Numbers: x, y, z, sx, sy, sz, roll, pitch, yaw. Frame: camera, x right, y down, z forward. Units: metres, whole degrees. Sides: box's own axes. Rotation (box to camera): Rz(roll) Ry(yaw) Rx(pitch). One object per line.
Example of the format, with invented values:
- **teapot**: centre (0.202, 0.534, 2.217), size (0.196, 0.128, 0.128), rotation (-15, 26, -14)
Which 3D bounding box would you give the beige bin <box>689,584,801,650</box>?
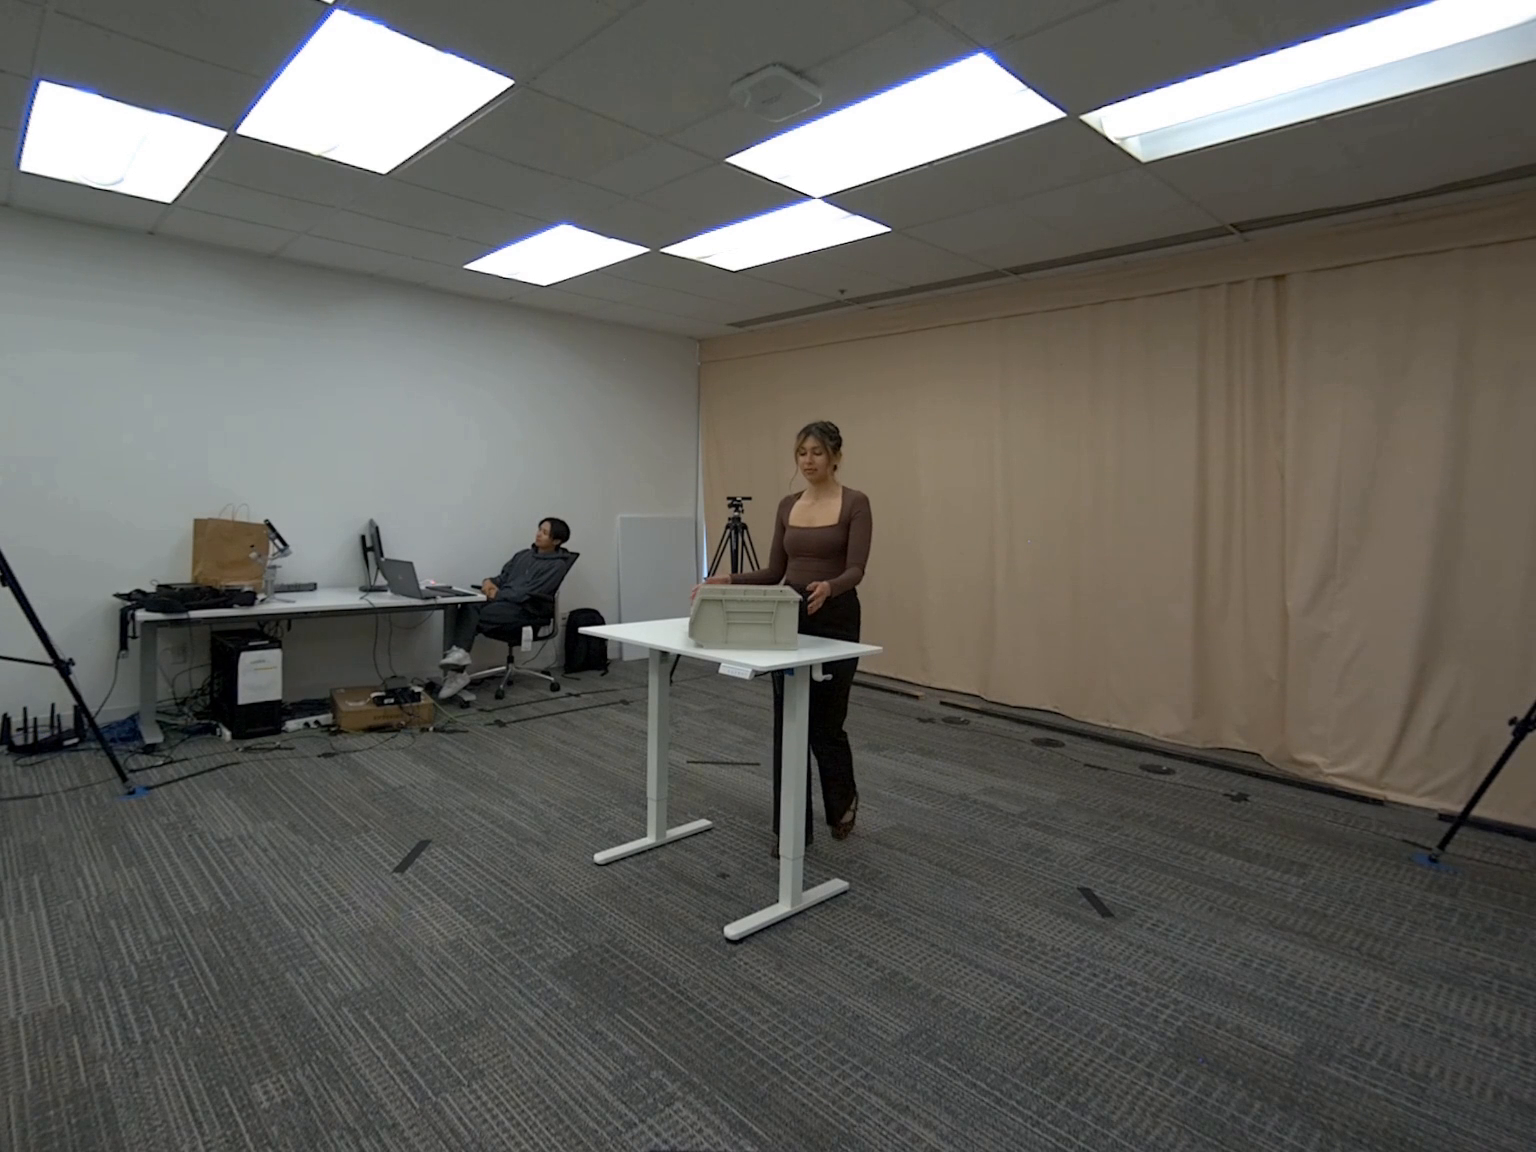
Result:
- **beige bin**: centre (-0.109, 0.142, 3.010), size (0.377, 0.188, 0.424), rotation (3, 4, -2)
